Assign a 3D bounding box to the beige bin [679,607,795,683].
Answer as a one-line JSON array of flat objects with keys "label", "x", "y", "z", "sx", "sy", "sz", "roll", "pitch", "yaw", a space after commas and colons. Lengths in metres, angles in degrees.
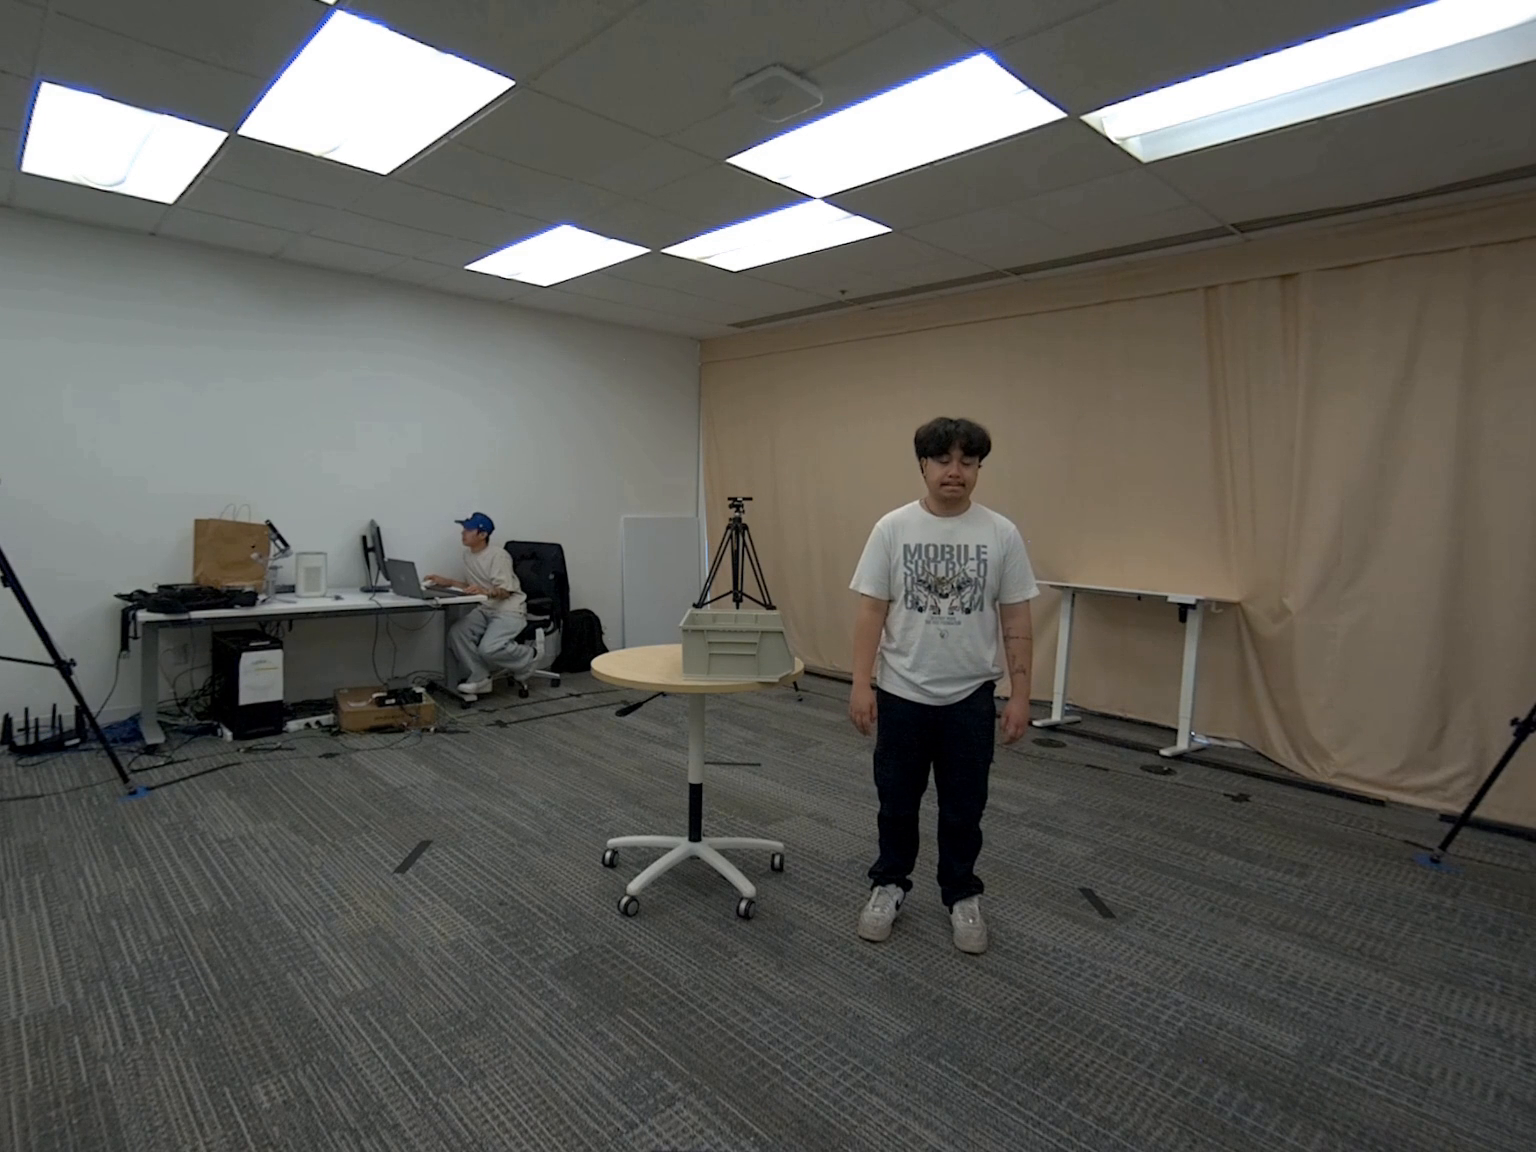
[{"label": "beige bin", "x": -0.112, "y": 0.238, "z": 2.933, "sx": 0.378, "sy": 0.188, "sz": 0.423, "roll": 1, "pitch": 5, "yaw": 1}]
